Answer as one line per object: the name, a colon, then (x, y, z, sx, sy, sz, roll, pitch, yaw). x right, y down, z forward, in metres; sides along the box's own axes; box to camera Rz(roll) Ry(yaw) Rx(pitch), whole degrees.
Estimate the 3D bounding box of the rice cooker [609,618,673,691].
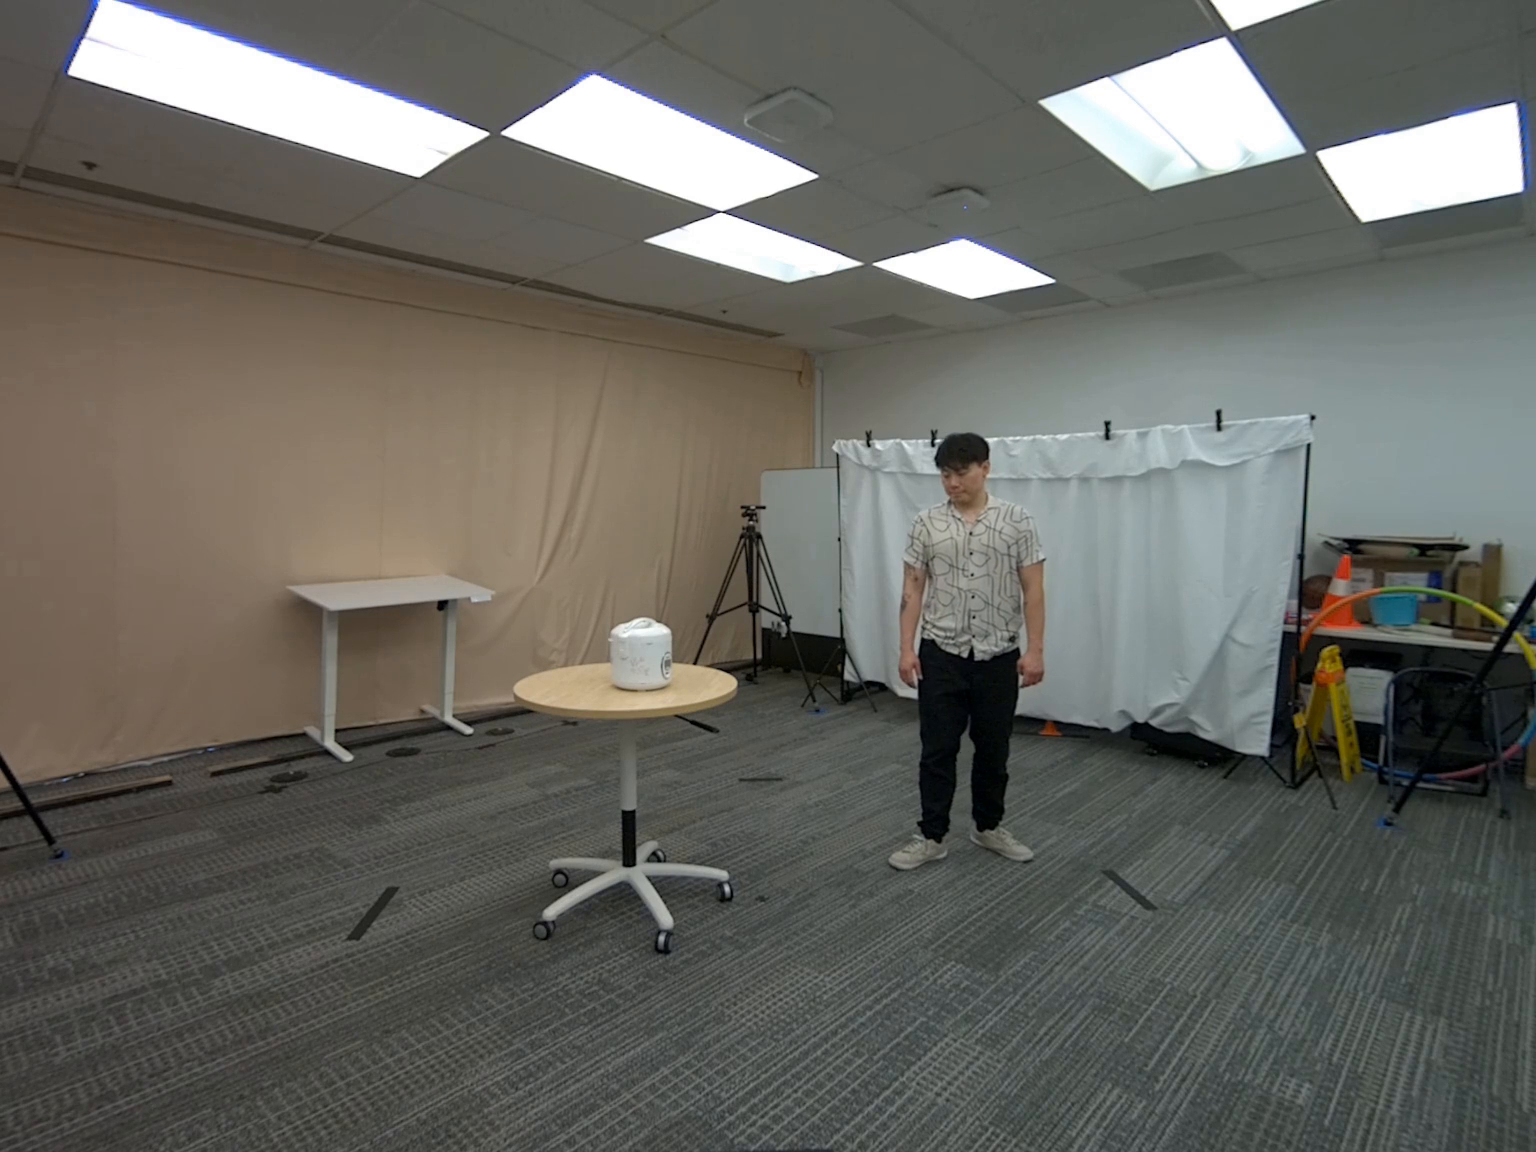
rice cooker: (-0.430, 0.260, 2.858, 0.223, 0.232, 0.215, 1, 4, 29)
